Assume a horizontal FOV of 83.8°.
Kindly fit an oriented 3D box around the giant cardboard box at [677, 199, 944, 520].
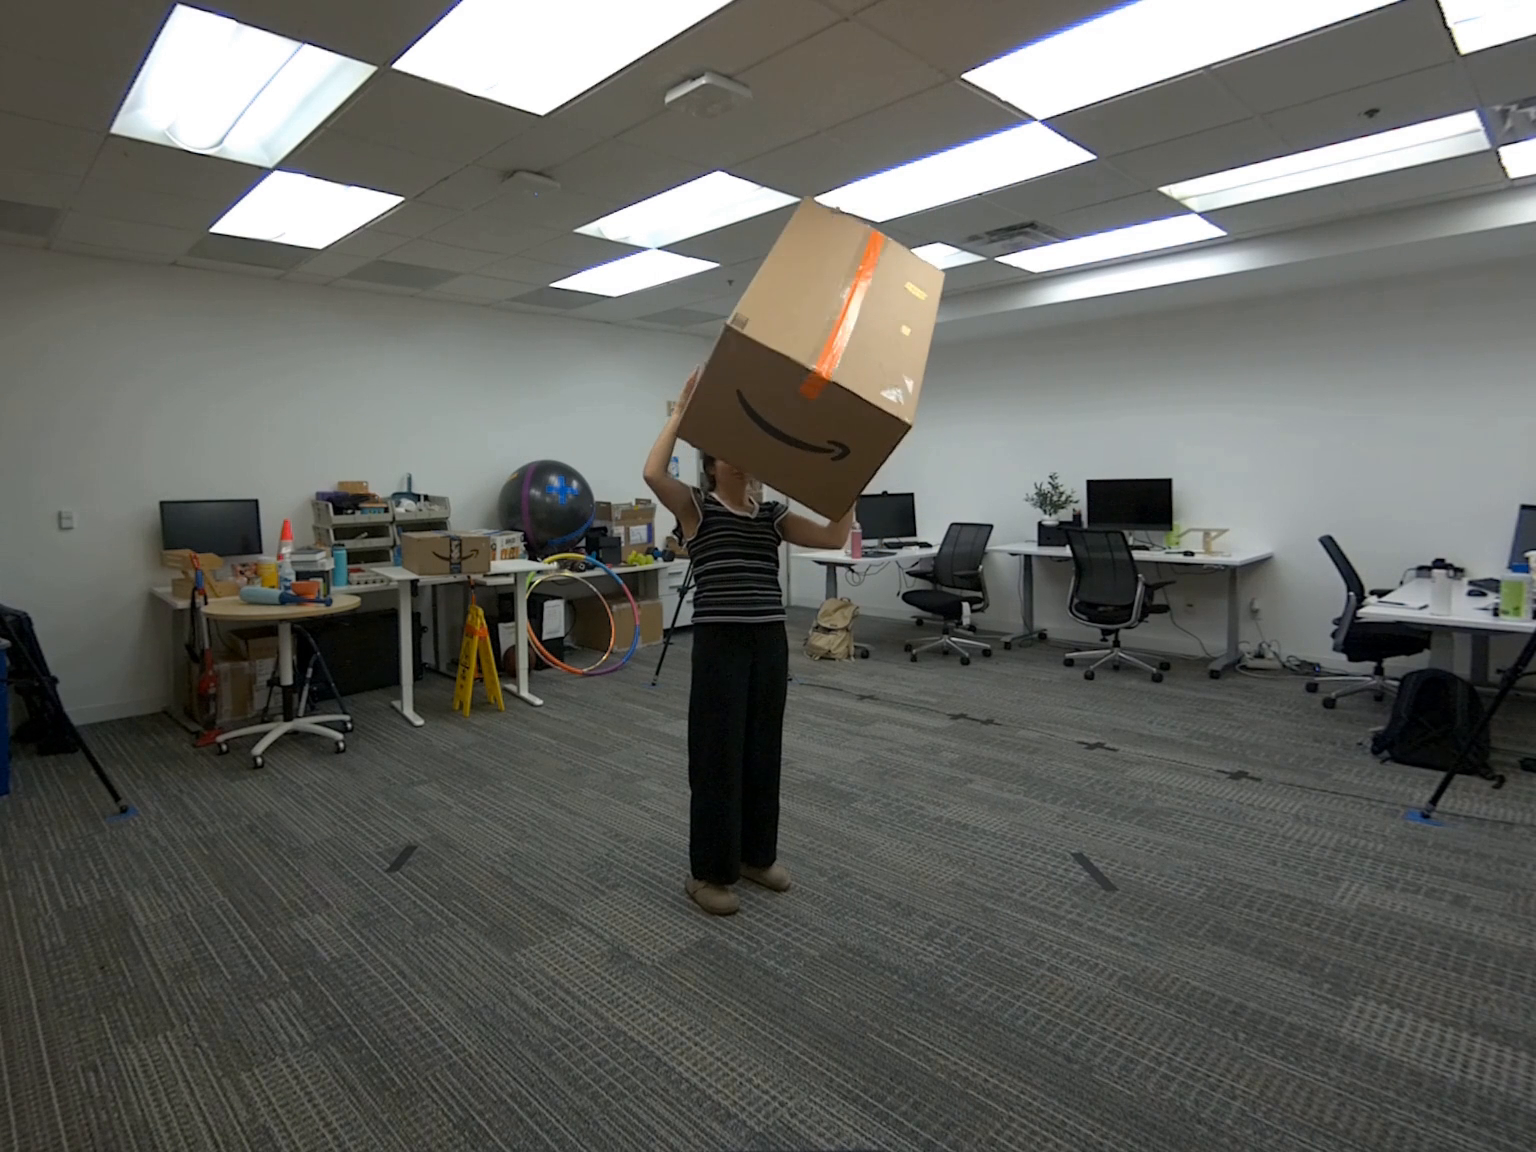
[{"bbox_3d":[0.167,-0.748,2.800,0.574,0.423,1.040,27,44,-6],"label":"giant cardboard box"}]
